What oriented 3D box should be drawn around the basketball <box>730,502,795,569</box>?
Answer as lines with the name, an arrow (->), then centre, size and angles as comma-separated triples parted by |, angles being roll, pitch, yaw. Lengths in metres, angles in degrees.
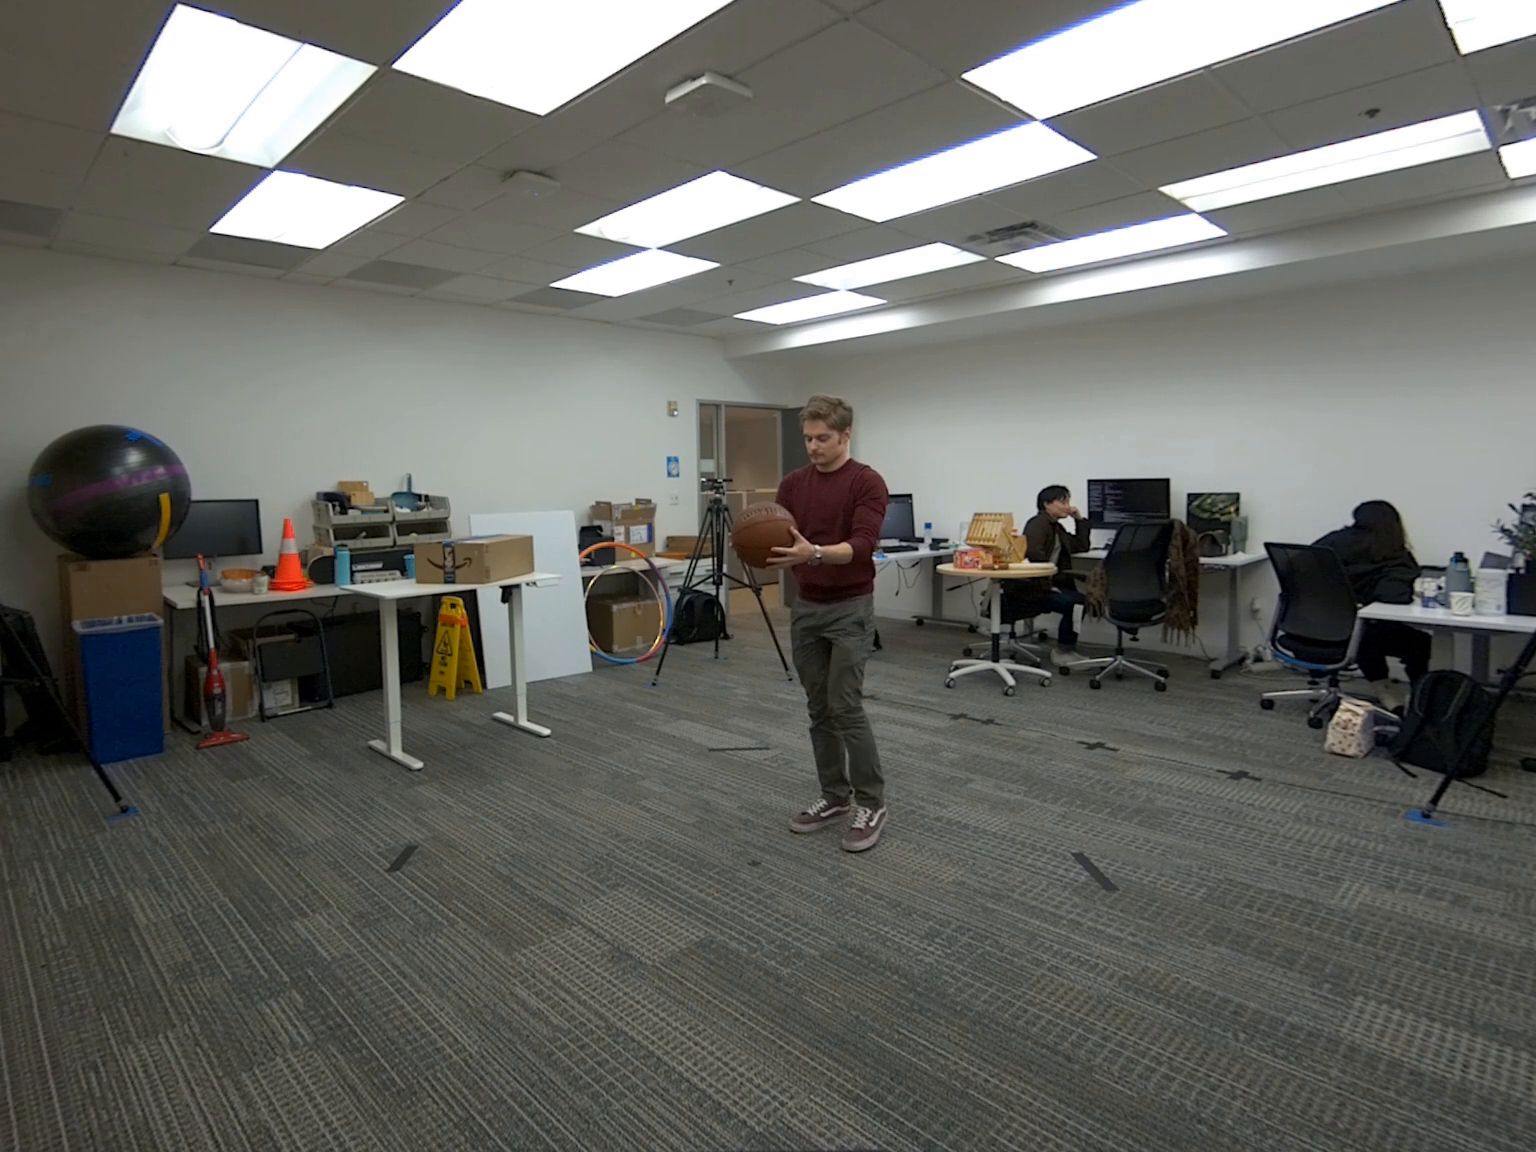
basketball -> -0.015, -0.140, 3.033 | 0.236, 0.235, 0.237 | -1, 5, -2
